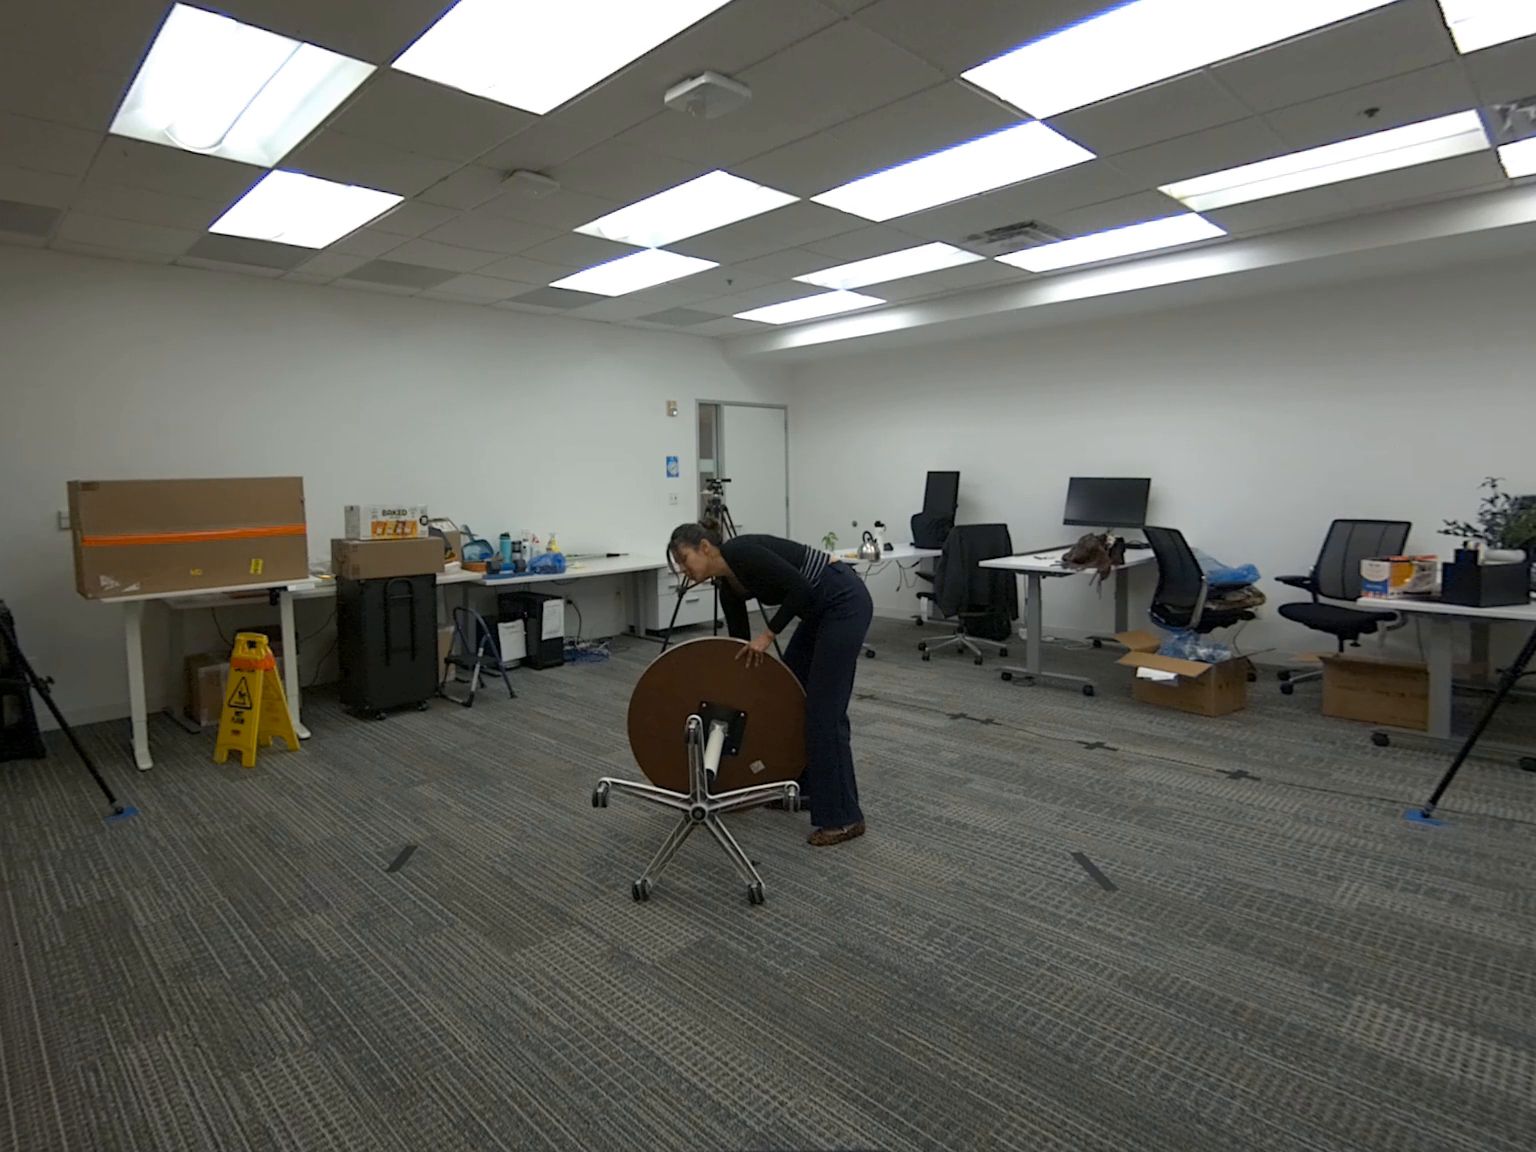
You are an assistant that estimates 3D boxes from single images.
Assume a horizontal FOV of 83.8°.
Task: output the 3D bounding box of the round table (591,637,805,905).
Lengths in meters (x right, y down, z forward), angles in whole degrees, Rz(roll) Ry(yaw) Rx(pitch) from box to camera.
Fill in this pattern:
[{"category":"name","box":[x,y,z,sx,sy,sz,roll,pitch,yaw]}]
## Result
[{"category":"round table","box":[-0.216,0.715,3.140,0.768,0.755,0.799,-1,12,4]}]
